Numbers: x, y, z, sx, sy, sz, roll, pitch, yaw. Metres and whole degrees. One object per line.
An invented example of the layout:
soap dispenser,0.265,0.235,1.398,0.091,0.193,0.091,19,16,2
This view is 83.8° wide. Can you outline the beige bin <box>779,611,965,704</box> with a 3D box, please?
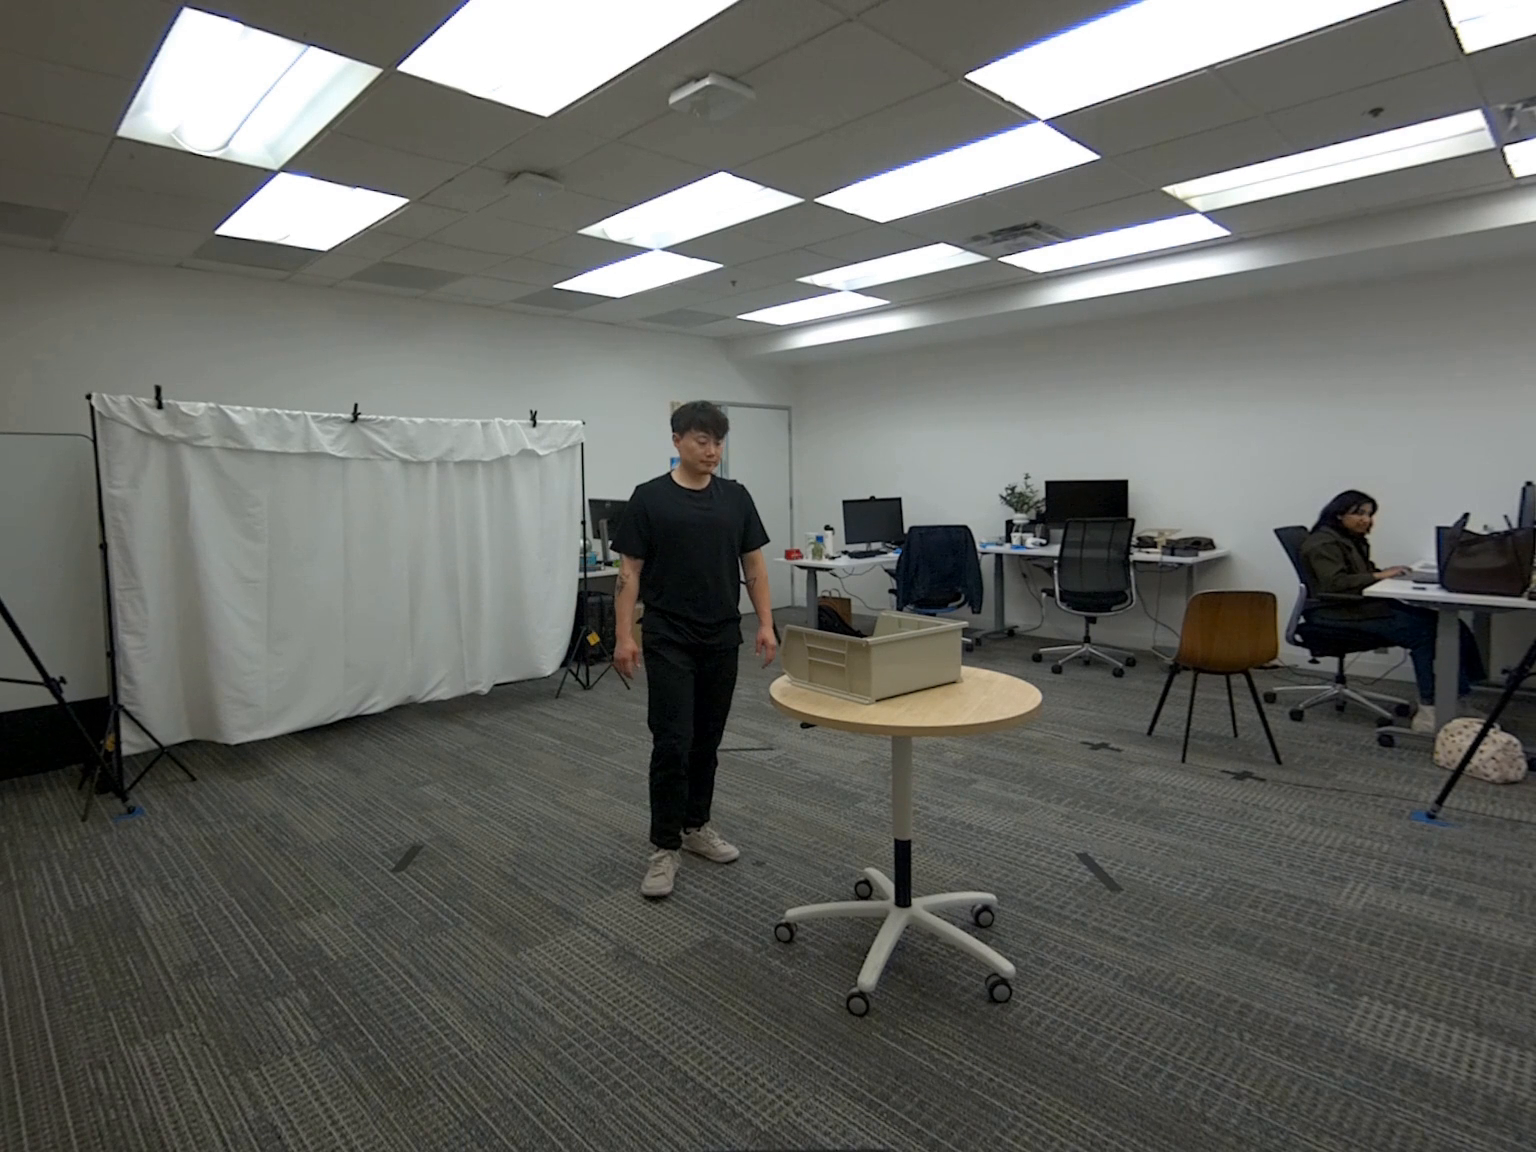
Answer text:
beige bin,0.314,0.234,2.554,0.411,0.188,0.389,-5,7,-38
